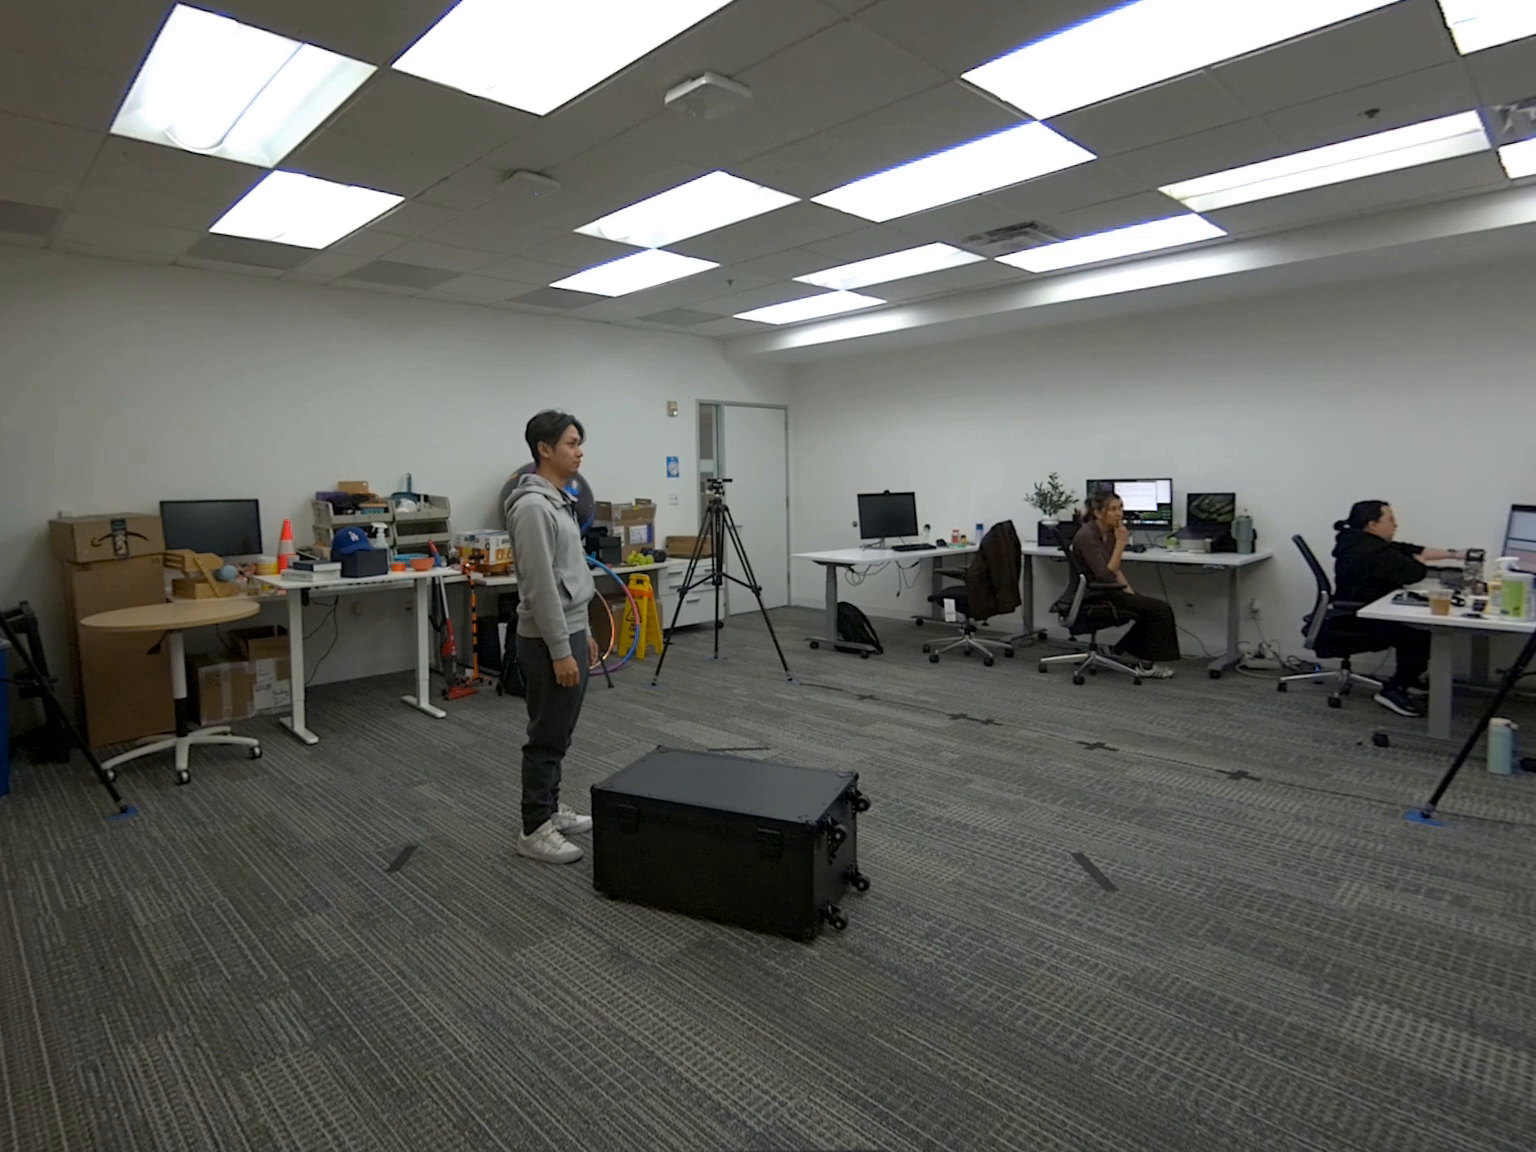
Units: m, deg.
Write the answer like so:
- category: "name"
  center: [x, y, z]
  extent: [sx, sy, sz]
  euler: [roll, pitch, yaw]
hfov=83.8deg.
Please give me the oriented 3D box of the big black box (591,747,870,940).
- category: "big black box"
  center: [-0.164, 0.876, 2.928]
  extent: [0.881, 0.395, 0.512]
  euler: [3, 6, 23]
